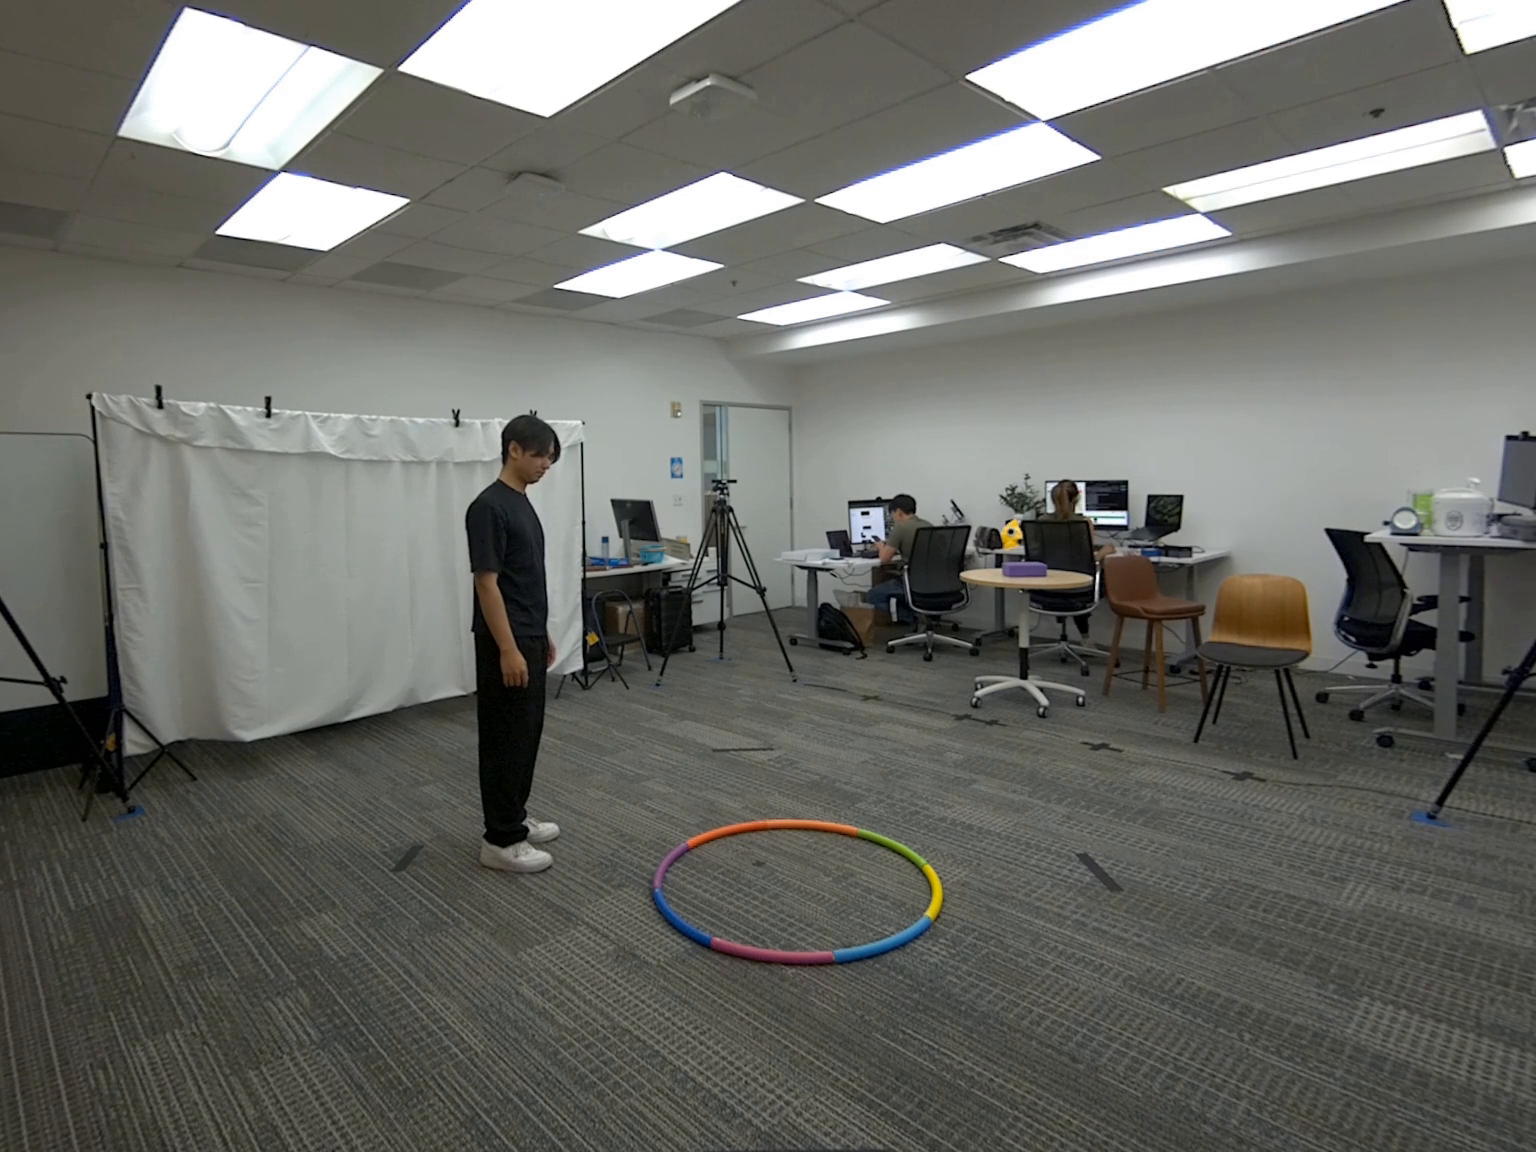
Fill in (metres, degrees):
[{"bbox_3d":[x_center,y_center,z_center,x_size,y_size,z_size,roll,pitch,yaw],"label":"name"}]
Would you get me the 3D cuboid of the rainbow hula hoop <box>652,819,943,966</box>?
[{"bbox_3d":[0.094,1.036,2.939,0.978,0.035,0.984,-2,7,-2],"label":"rainbow hula hoop"}]
